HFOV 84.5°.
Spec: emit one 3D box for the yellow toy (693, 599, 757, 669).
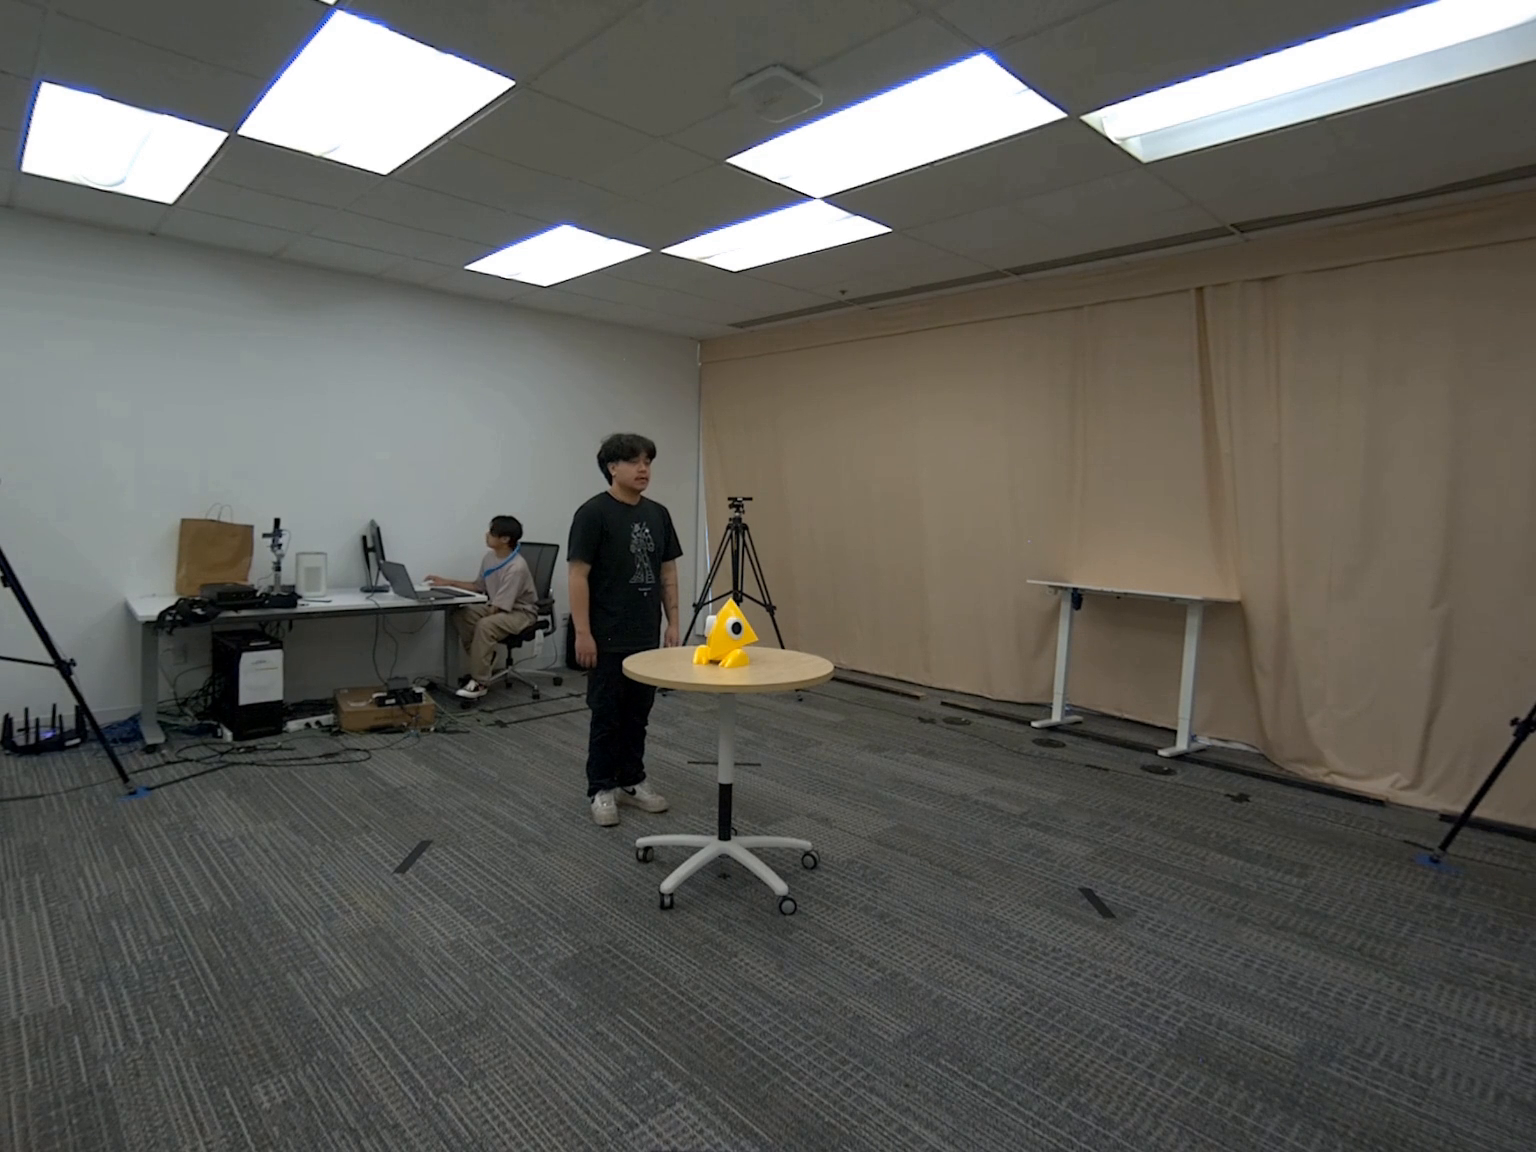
[{"bbox_3d":[-0.174,0.204,3.072,0.209,0.230,0.189,3,4,27],"label":"yellow toy"}]
